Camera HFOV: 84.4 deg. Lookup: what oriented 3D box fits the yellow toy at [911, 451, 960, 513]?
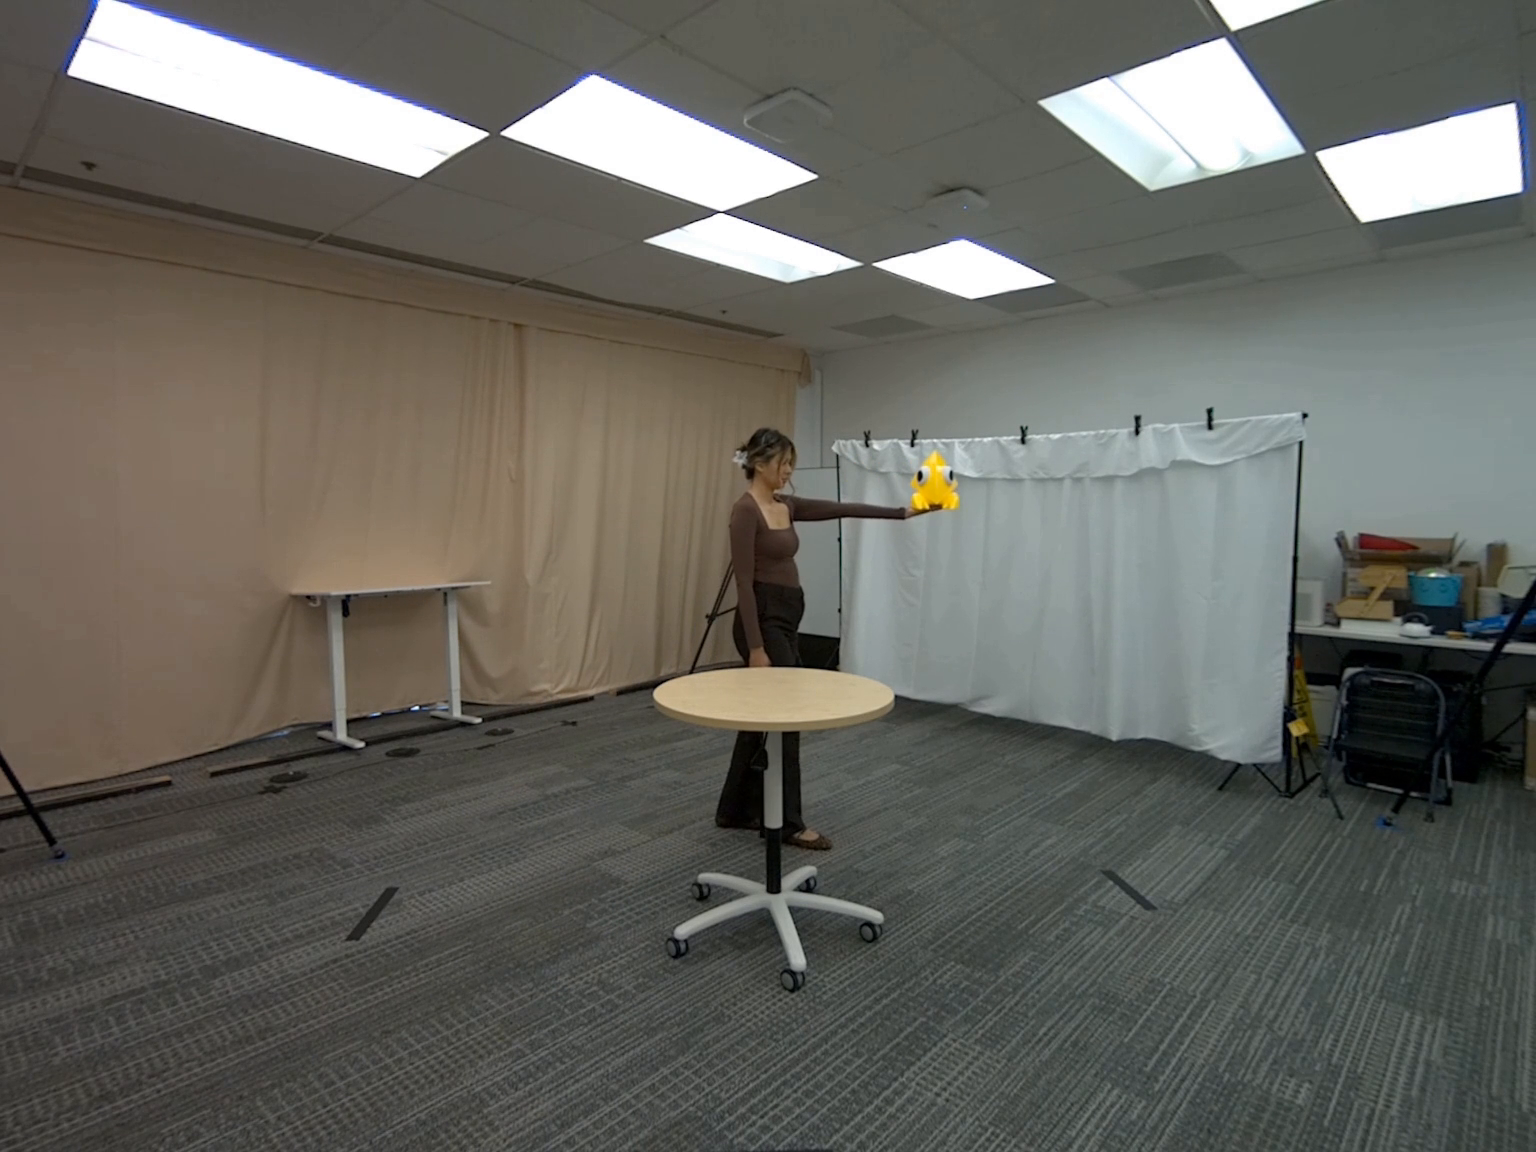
[{"bbox_3d":[0.716,-0.407,3.548,0.207,0.229,0.192,2,12,9],"label":"yellow toy"}]
